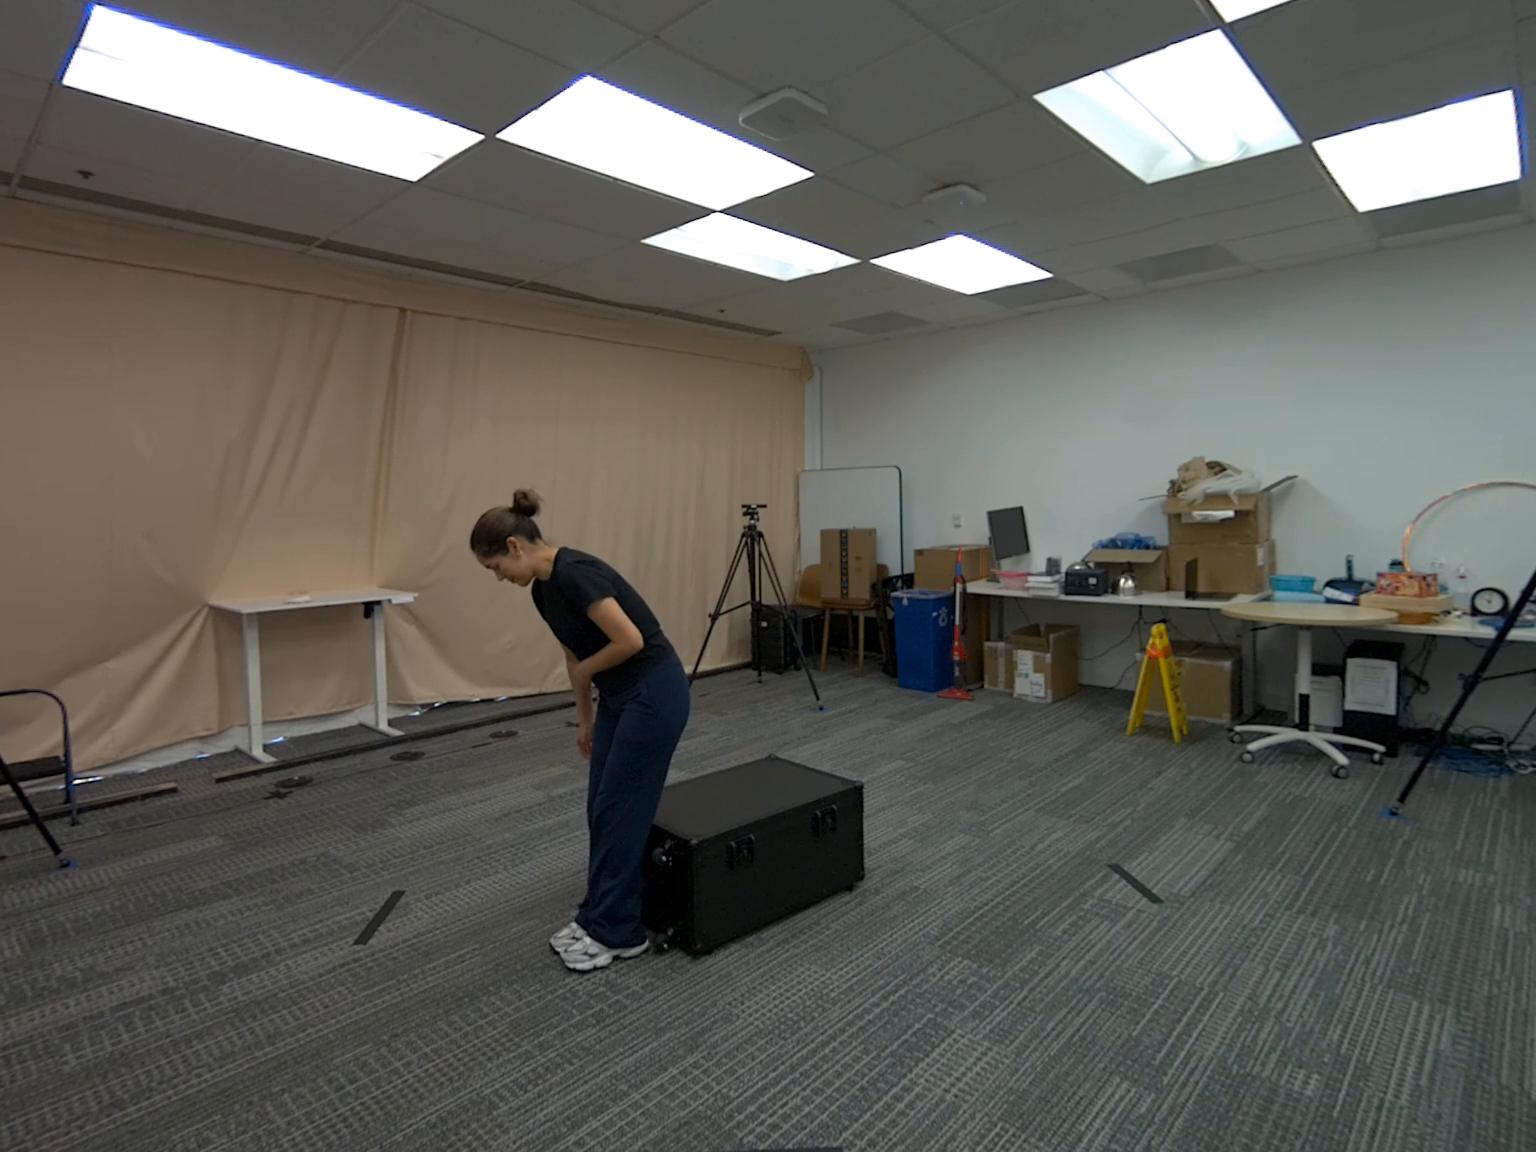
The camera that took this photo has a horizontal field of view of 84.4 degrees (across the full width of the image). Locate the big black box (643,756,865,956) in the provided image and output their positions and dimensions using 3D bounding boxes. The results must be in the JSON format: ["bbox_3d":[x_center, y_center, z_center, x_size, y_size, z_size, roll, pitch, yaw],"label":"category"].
[{"bbox_3d":[-0.060,0.952,3.000,0.836,0.395,0.538,-7,7,-41],"label":"big black box"}]
